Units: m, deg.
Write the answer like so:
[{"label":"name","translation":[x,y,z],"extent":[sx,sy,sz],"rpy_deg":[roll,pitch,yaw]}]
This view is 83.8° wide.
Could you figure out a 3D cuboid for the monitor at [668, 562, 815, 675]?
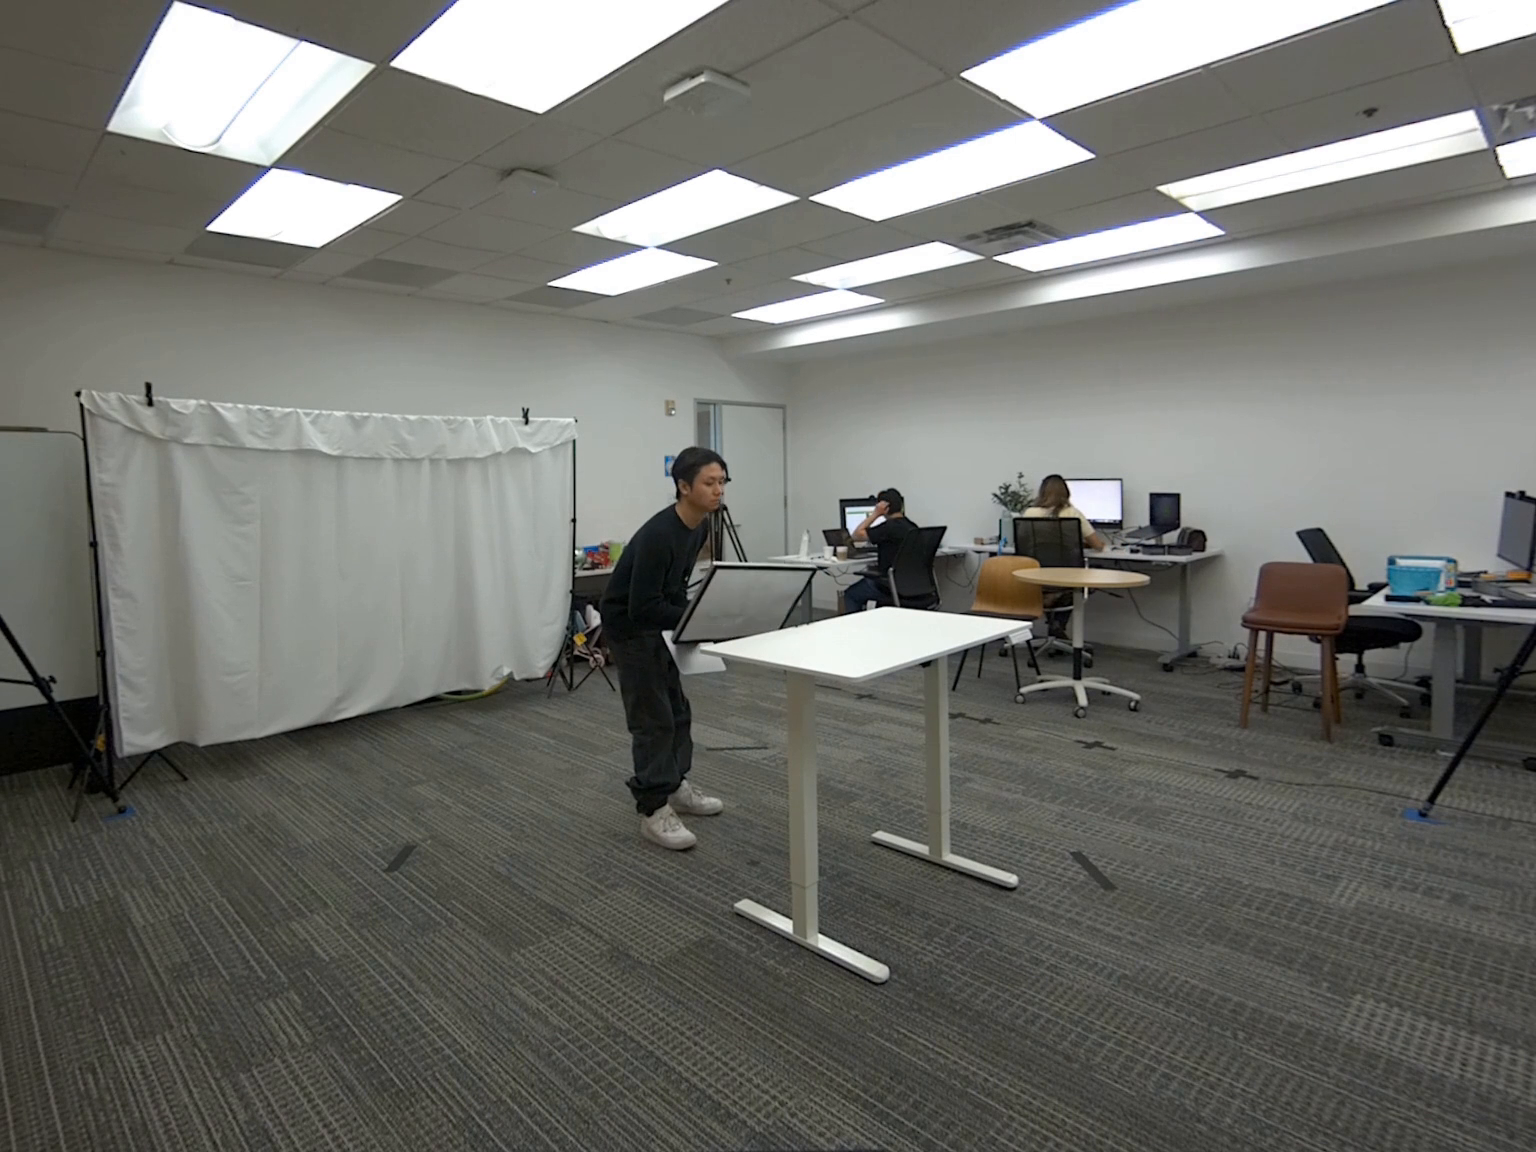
[{"label":"monitor","translation":[-0.146,0.134,3.272],"extent":[0.514,0.180,0.517],"rpy_deg":[2,-36,-47]}]
